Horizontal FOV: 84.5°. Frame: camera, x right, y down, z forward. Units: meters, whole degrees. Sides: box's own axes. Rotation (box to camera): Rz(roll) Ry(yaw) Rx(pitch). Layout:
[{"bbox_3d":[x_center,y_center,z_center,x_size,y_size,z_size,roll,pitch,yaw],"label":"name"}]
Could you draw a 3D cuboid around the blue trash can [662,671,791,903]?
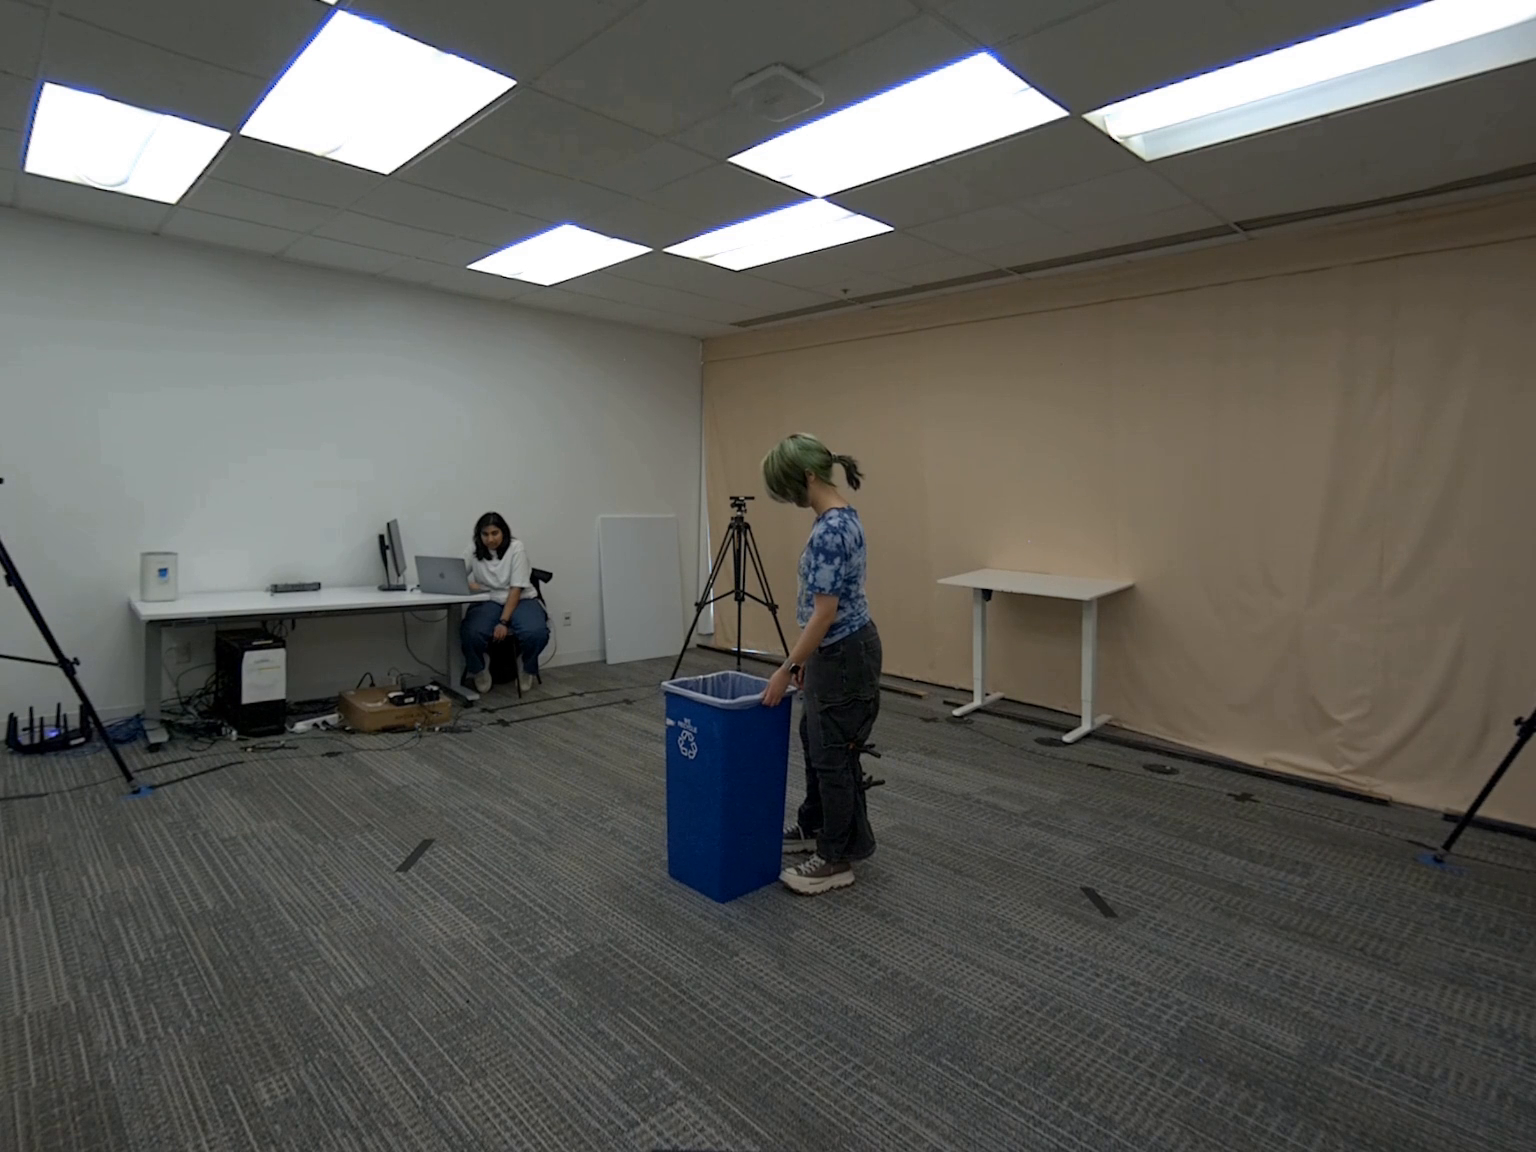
[{"bbox_3d":[-0.153,0.750,3.063,0.369,0.711,0.383,-3,5,-44],"label":"blue trash can"}]
